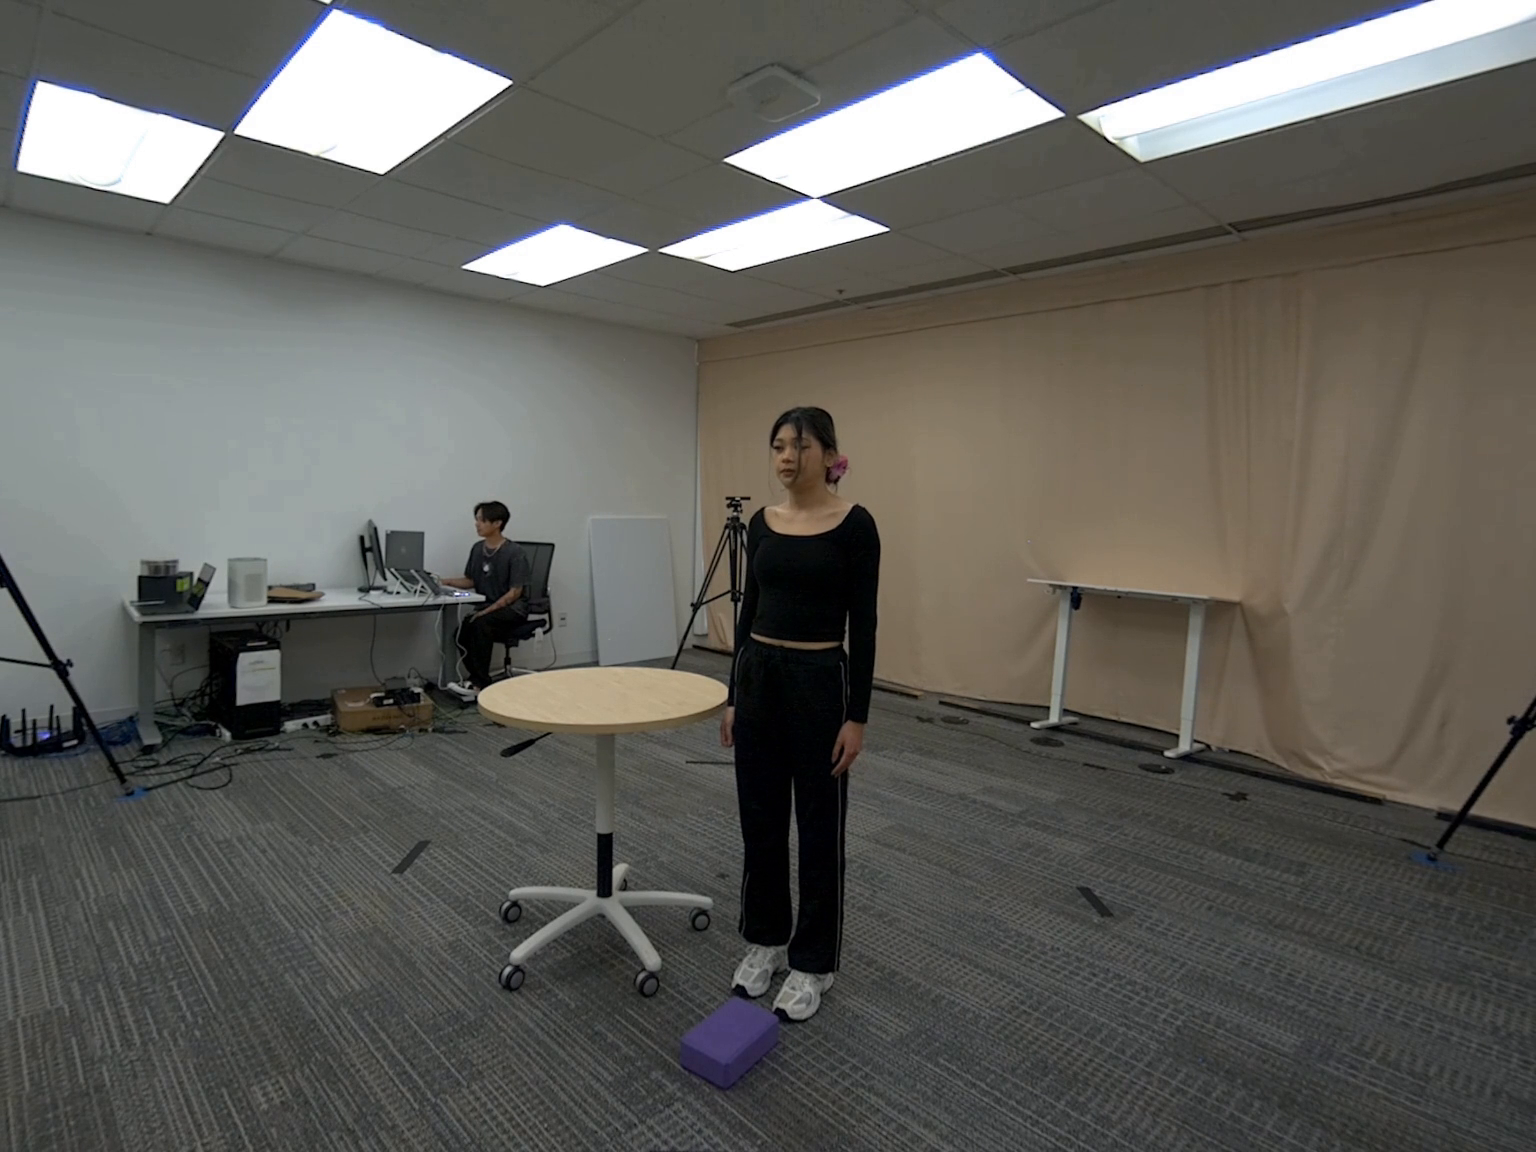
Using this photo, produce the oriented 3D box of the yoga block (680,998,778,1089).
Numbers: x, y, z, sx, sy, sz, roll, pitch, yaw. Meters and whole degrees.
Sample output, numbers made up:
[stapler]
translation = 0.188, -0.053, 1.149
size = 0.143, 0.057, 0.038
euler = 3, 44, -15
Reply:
[yoga block]
translation = -0.106, 1.165, 2.096
size = 0.153, 0.076, 0.224
euler = 6, 7, 36
